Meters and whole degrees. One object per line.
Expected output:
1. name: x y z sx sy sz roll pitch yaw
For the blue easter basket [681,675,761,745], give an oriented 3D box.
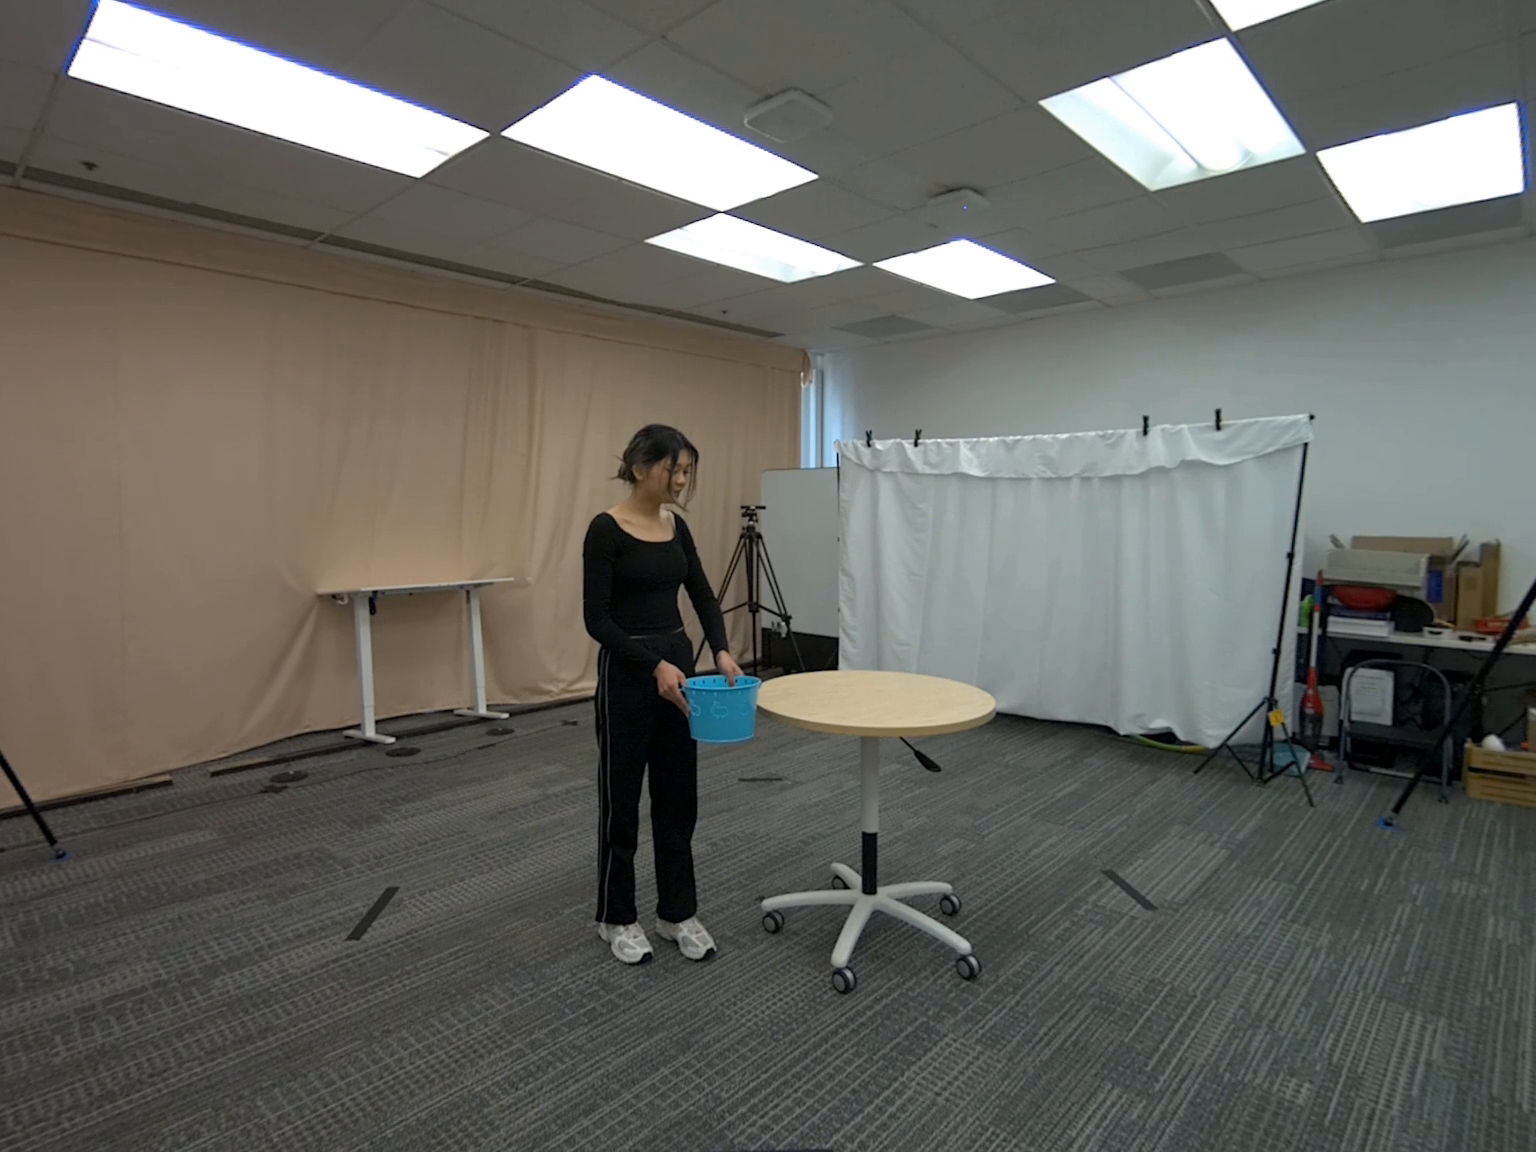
1. blue easter basket: -0.143 0.383 2.376 0.243 0.155 0.244 -1 3 -2
